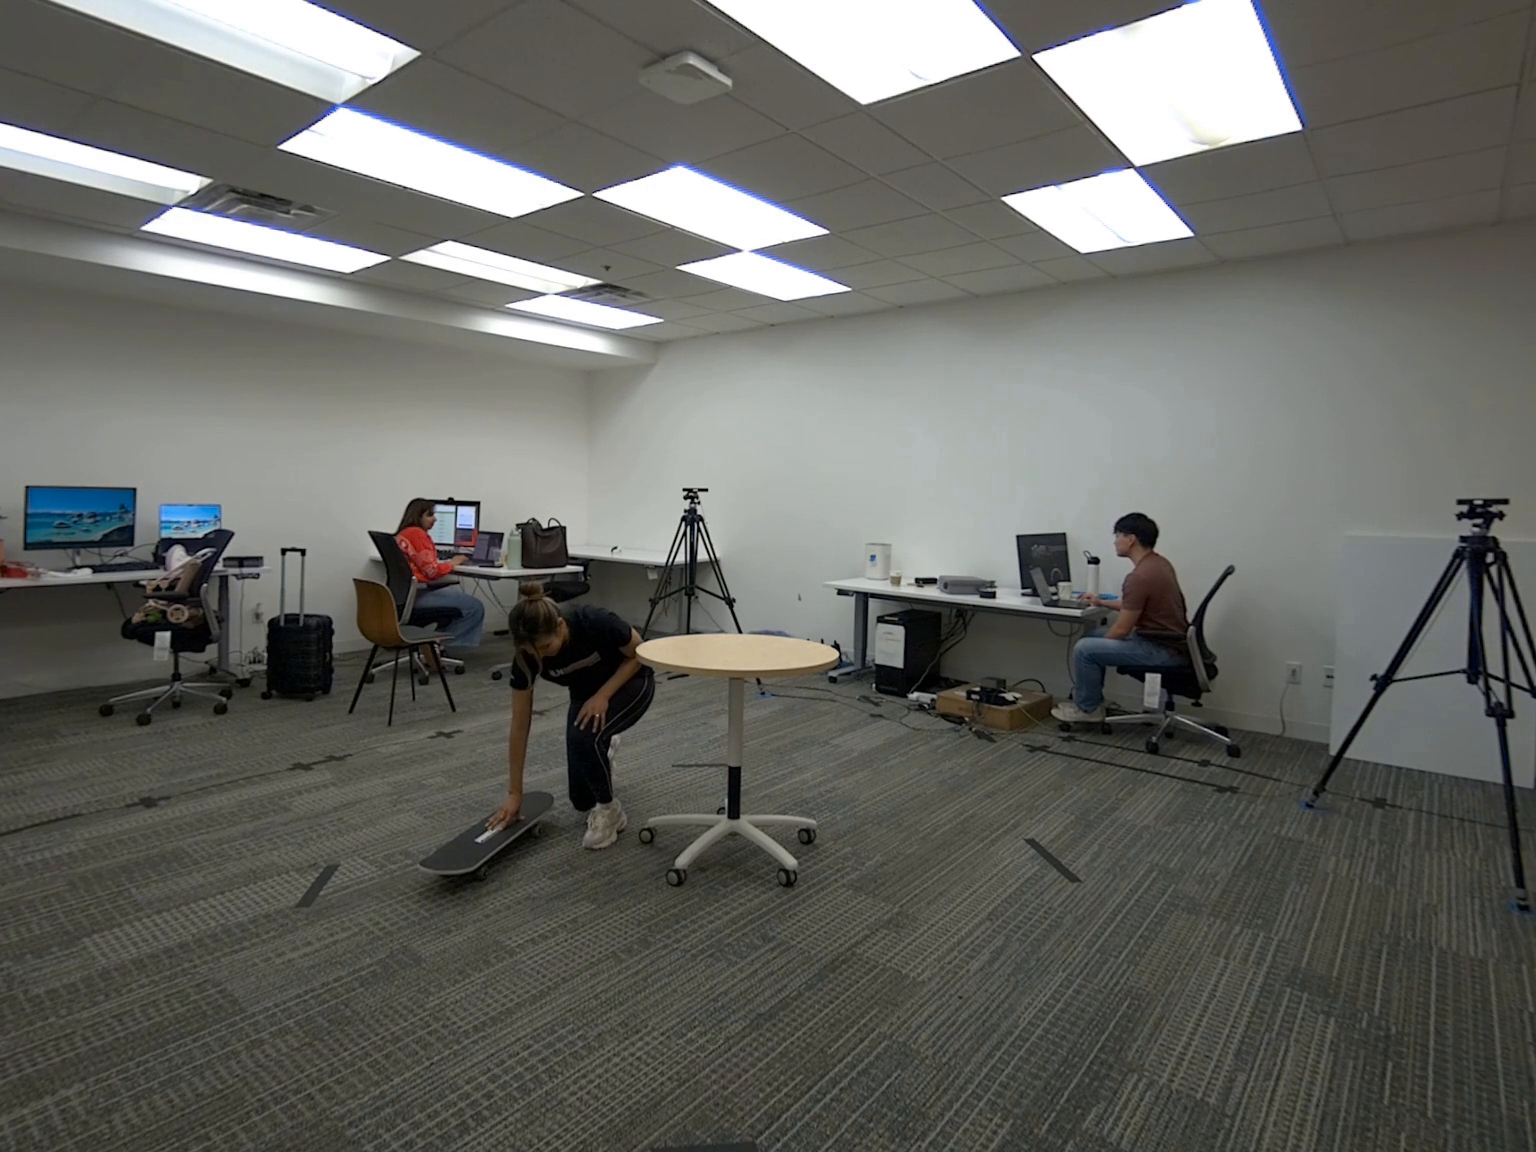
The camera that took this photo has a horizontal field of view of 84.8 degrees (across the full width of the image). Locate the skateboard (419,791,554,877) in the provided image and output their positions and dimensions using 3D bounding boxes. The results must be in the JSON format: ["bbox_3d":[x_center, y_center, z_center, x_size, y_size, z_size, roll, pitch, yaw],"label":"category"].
[{"bbox_3d":[-1.052,0.997,3.200,0.196,0.110,0.776,3,5,11],"label":"skateboard"}]
